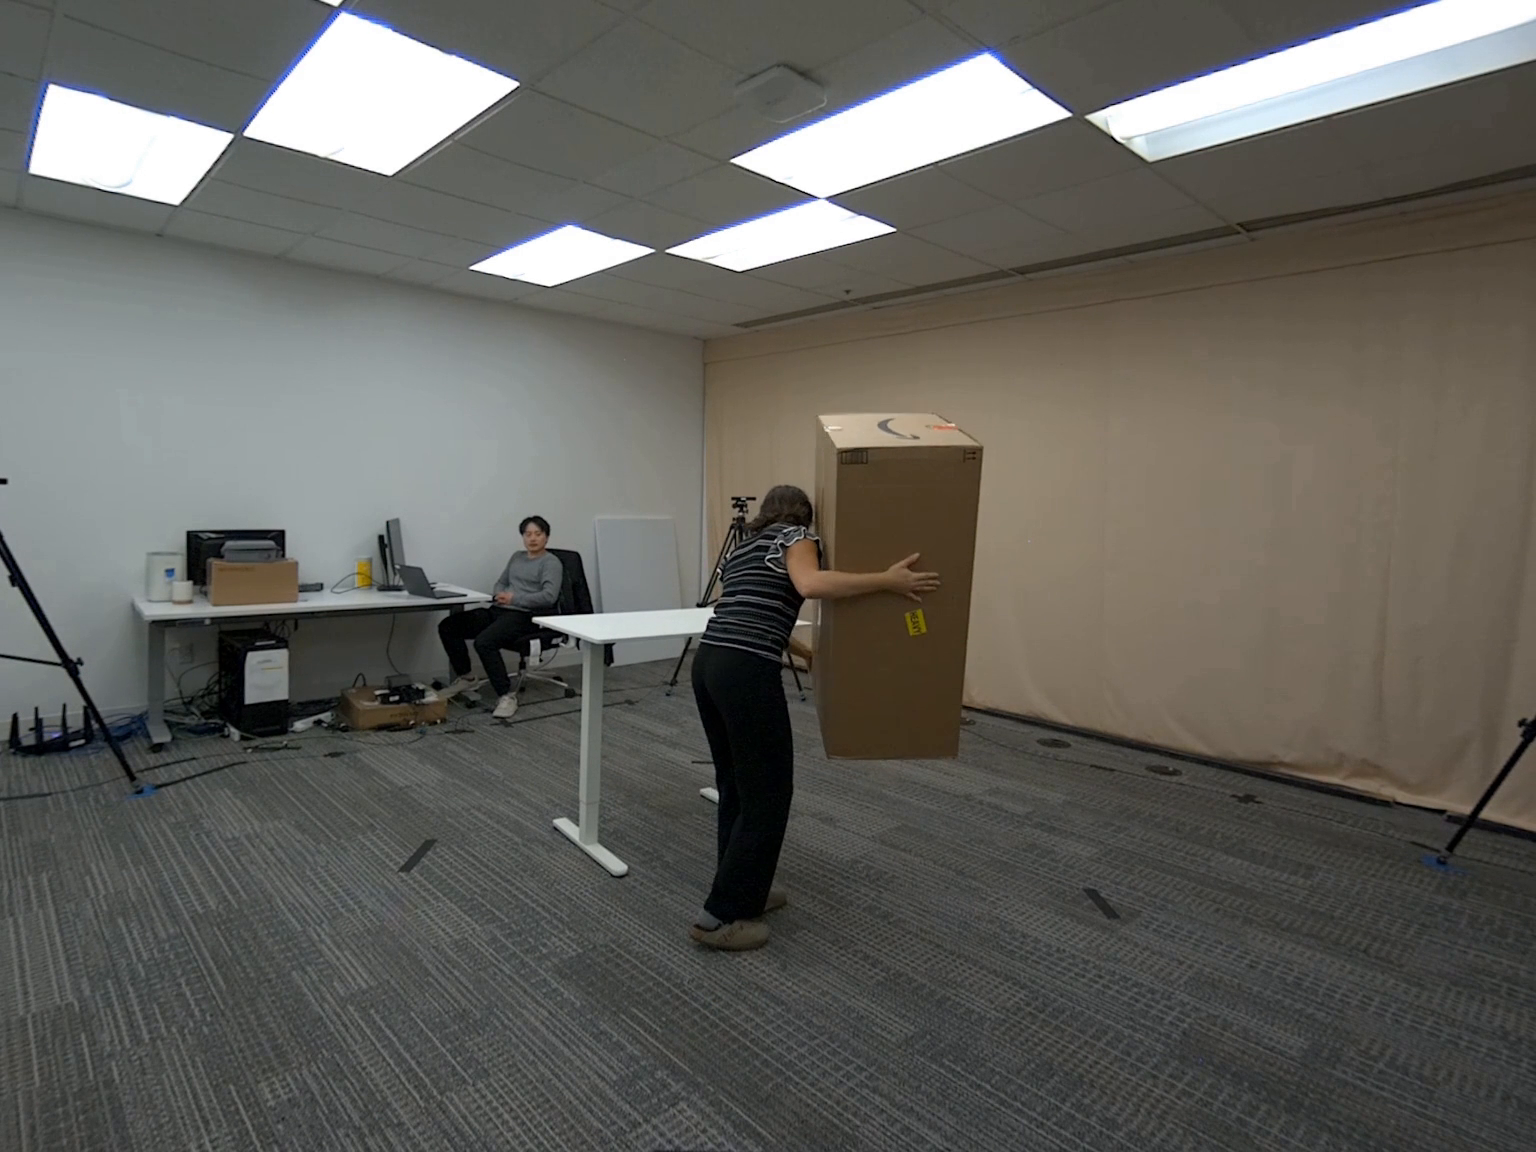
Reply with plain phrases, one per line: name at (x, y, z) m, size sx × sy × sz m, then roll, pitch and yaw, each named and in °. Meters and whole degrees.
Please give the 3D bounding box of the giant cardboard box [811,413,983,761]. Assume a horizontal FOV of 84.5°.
giant cardboard box at (0.389, 0.014, 2.812) m, size 0.426 × 1.012 × 0.585 m, roll -1°, pitch 18°, yaw -1°
